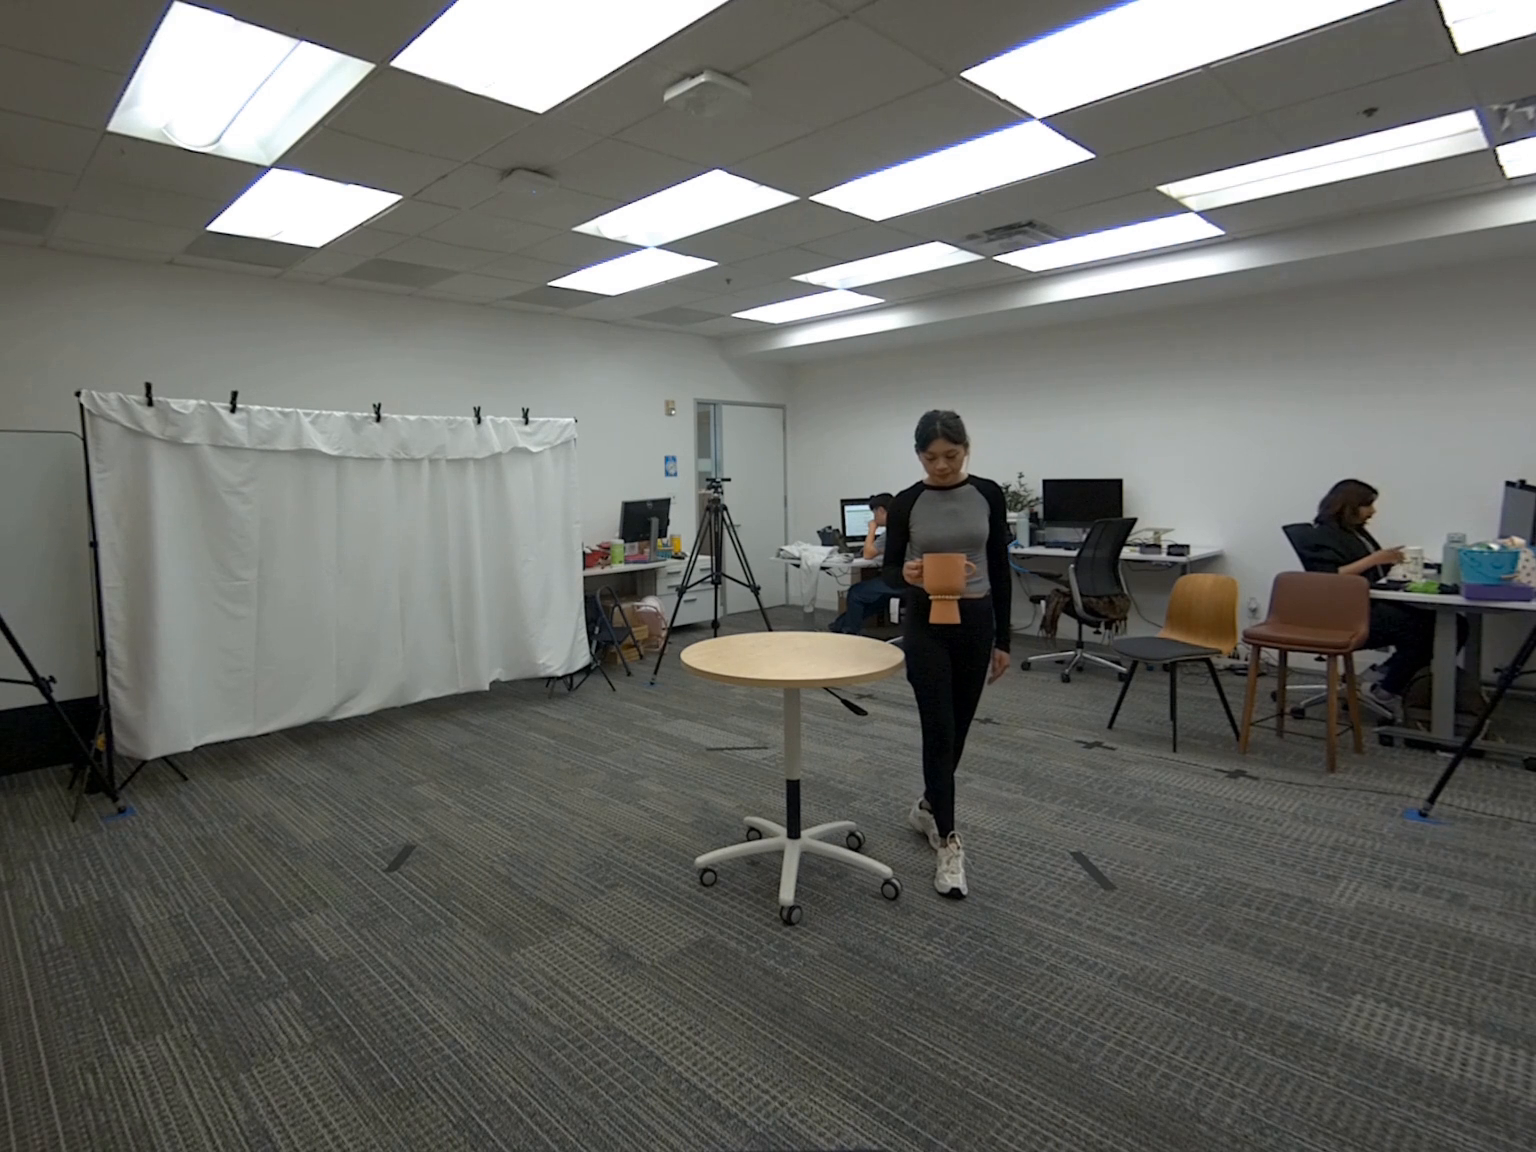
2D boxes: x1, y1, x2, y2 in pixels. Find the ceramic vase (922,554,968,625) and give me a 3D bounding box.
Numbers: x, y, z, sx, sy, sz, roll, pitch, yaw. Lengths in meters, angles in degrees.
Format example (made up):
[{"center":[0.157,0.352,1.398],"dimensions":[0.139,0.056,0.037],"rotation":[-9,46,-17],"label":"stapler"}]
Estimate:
[{"center":[0.569,0.043,2.734],"dimensions":[0.132,0.220,0.162],"rotation":[2,-2,-23],"label":"ceramic vase"}]
